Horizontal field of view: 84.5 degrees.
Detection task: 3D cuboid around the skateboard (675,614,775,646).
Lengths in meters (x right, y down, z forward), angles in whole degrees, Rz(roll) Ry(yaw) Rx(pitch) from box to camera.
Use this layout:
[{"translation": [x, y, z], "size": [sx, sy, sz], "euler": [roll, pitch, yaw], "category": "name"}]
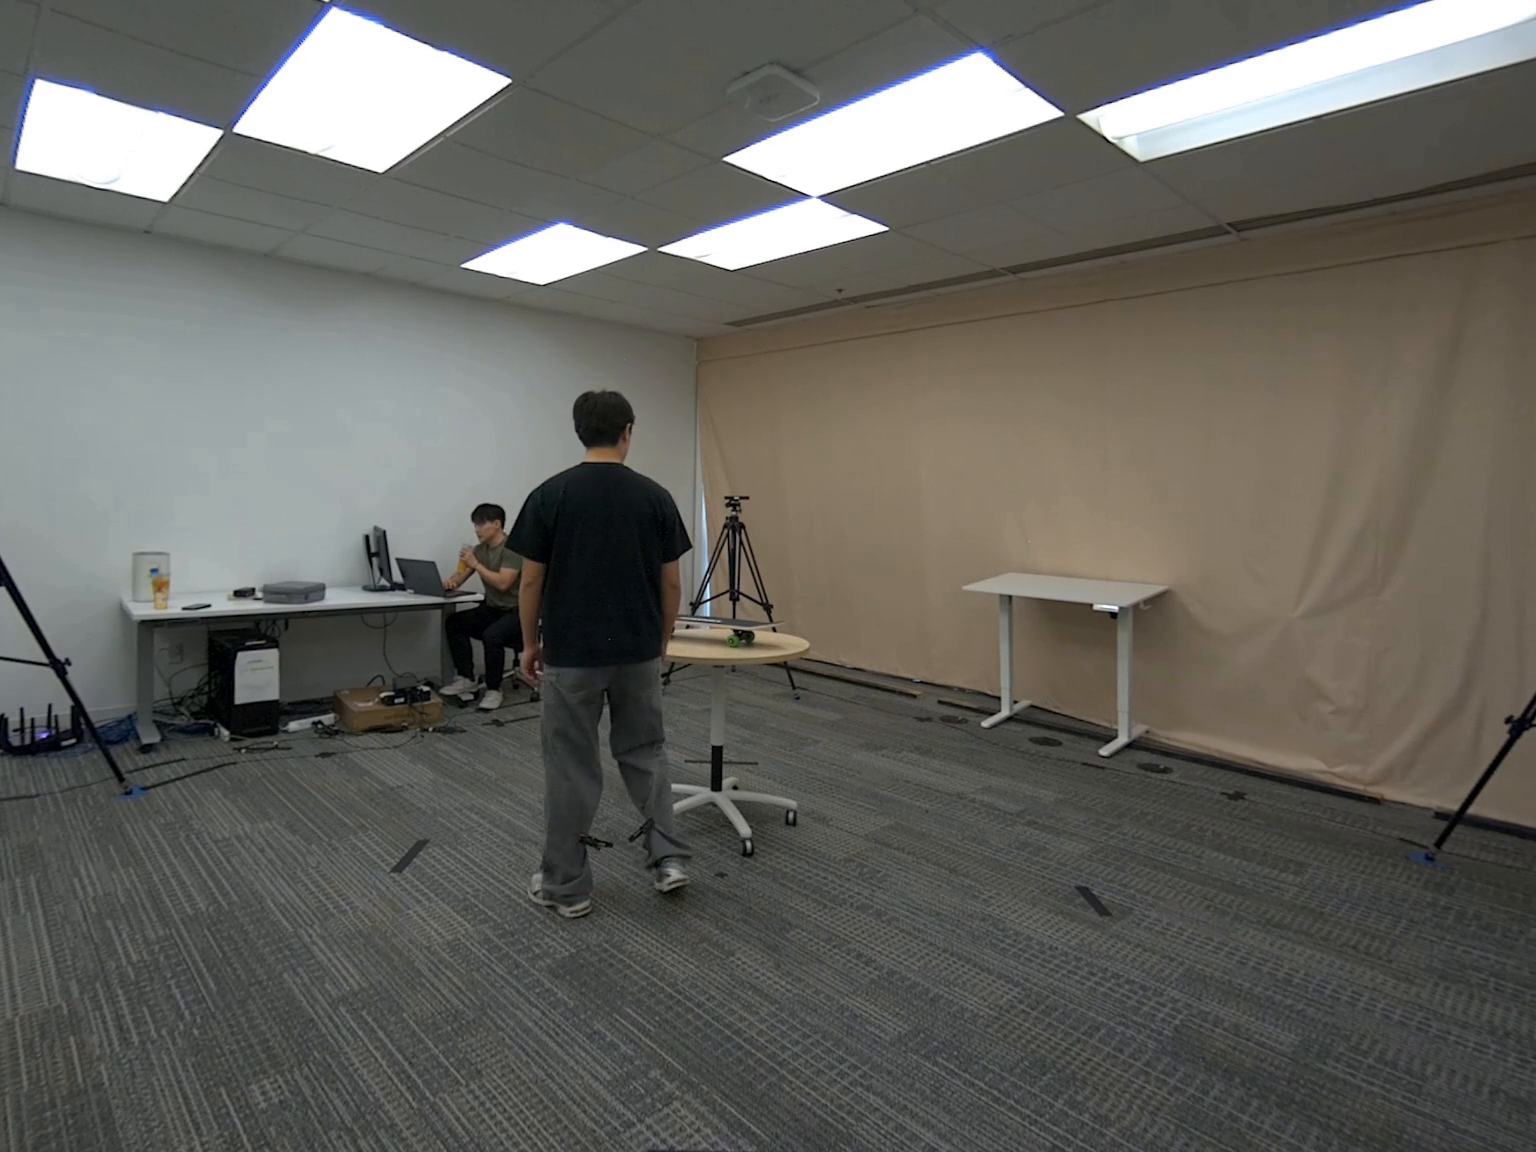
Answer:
[{"translation": [-0.306, 0.233, 3.609], "size": [0.801, 0.110, 0.190], "euler": [3, 4, 27], "category": "skateboard"}]
